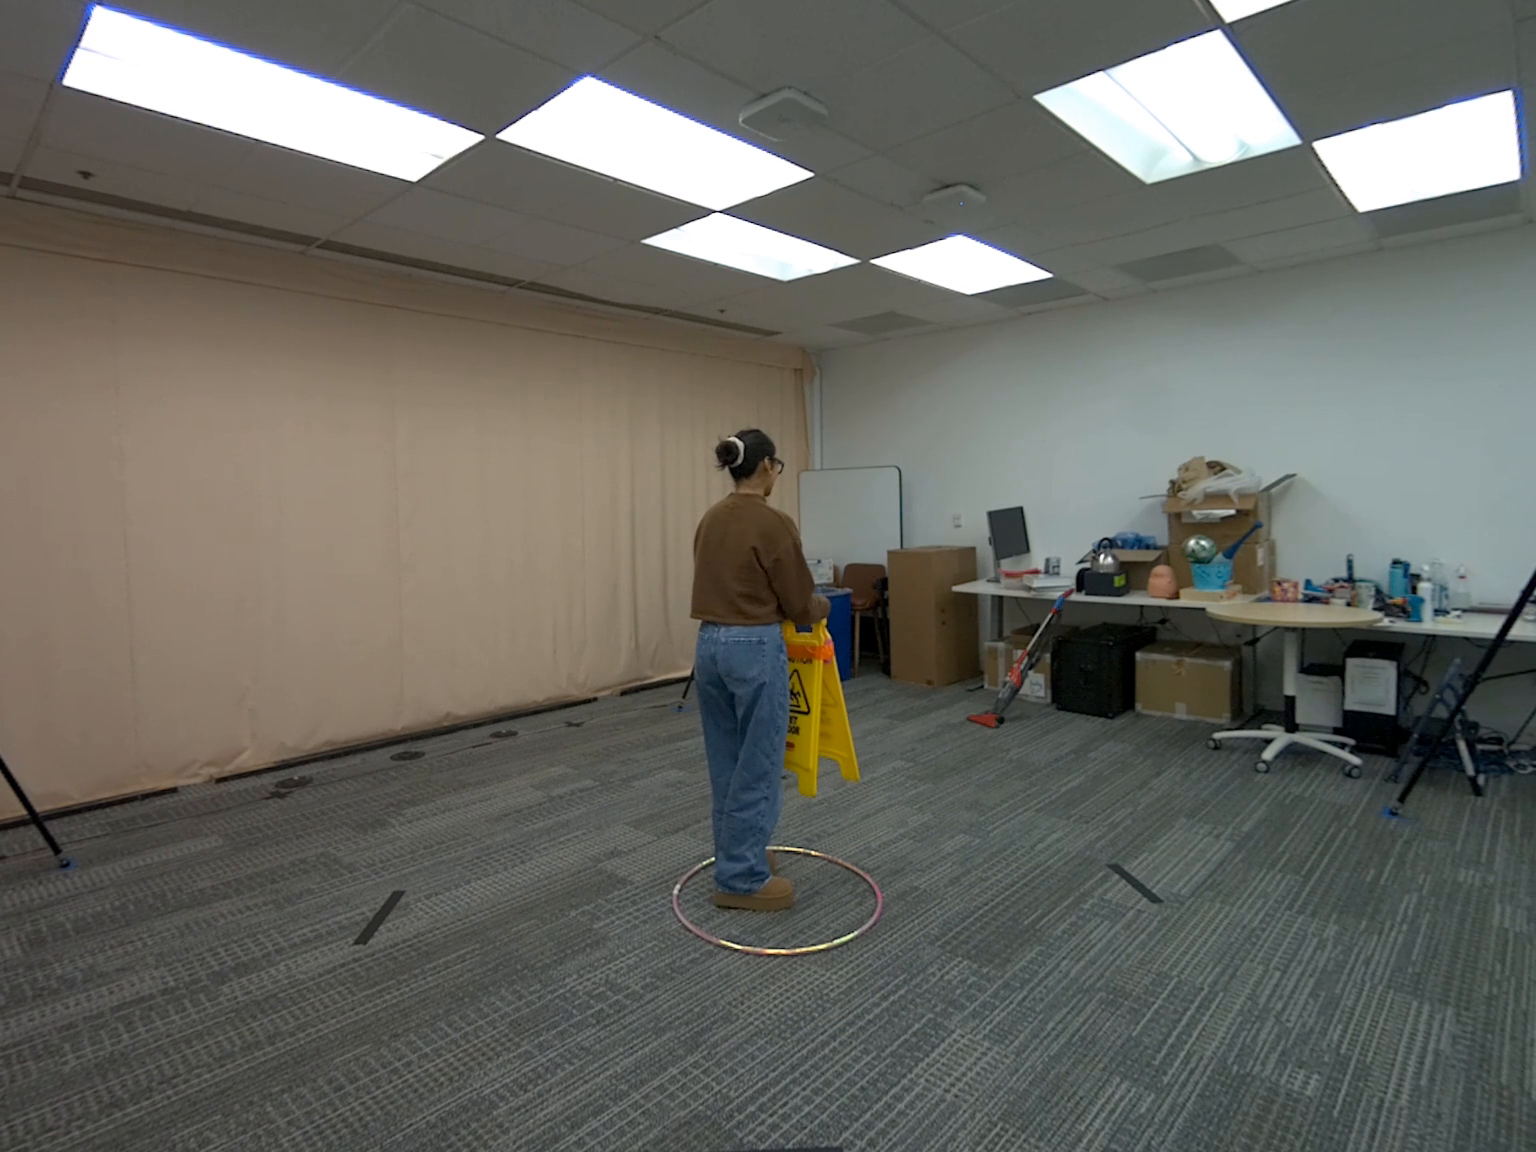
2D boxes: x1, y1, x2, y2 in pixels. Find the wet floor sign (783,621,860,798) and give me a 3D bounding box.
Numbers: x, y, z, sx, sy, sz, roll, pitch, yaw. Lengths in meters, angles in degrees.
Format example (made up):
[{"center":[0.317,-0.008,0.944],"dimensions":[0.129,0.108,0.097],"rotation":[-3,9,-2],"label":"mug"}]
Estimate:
[{"center":[0.149,0.463,3.193],"dimensions":[0.291,0.646,0.280],"rotation":[-1,0,45],"label":"wet floor sign"}]
